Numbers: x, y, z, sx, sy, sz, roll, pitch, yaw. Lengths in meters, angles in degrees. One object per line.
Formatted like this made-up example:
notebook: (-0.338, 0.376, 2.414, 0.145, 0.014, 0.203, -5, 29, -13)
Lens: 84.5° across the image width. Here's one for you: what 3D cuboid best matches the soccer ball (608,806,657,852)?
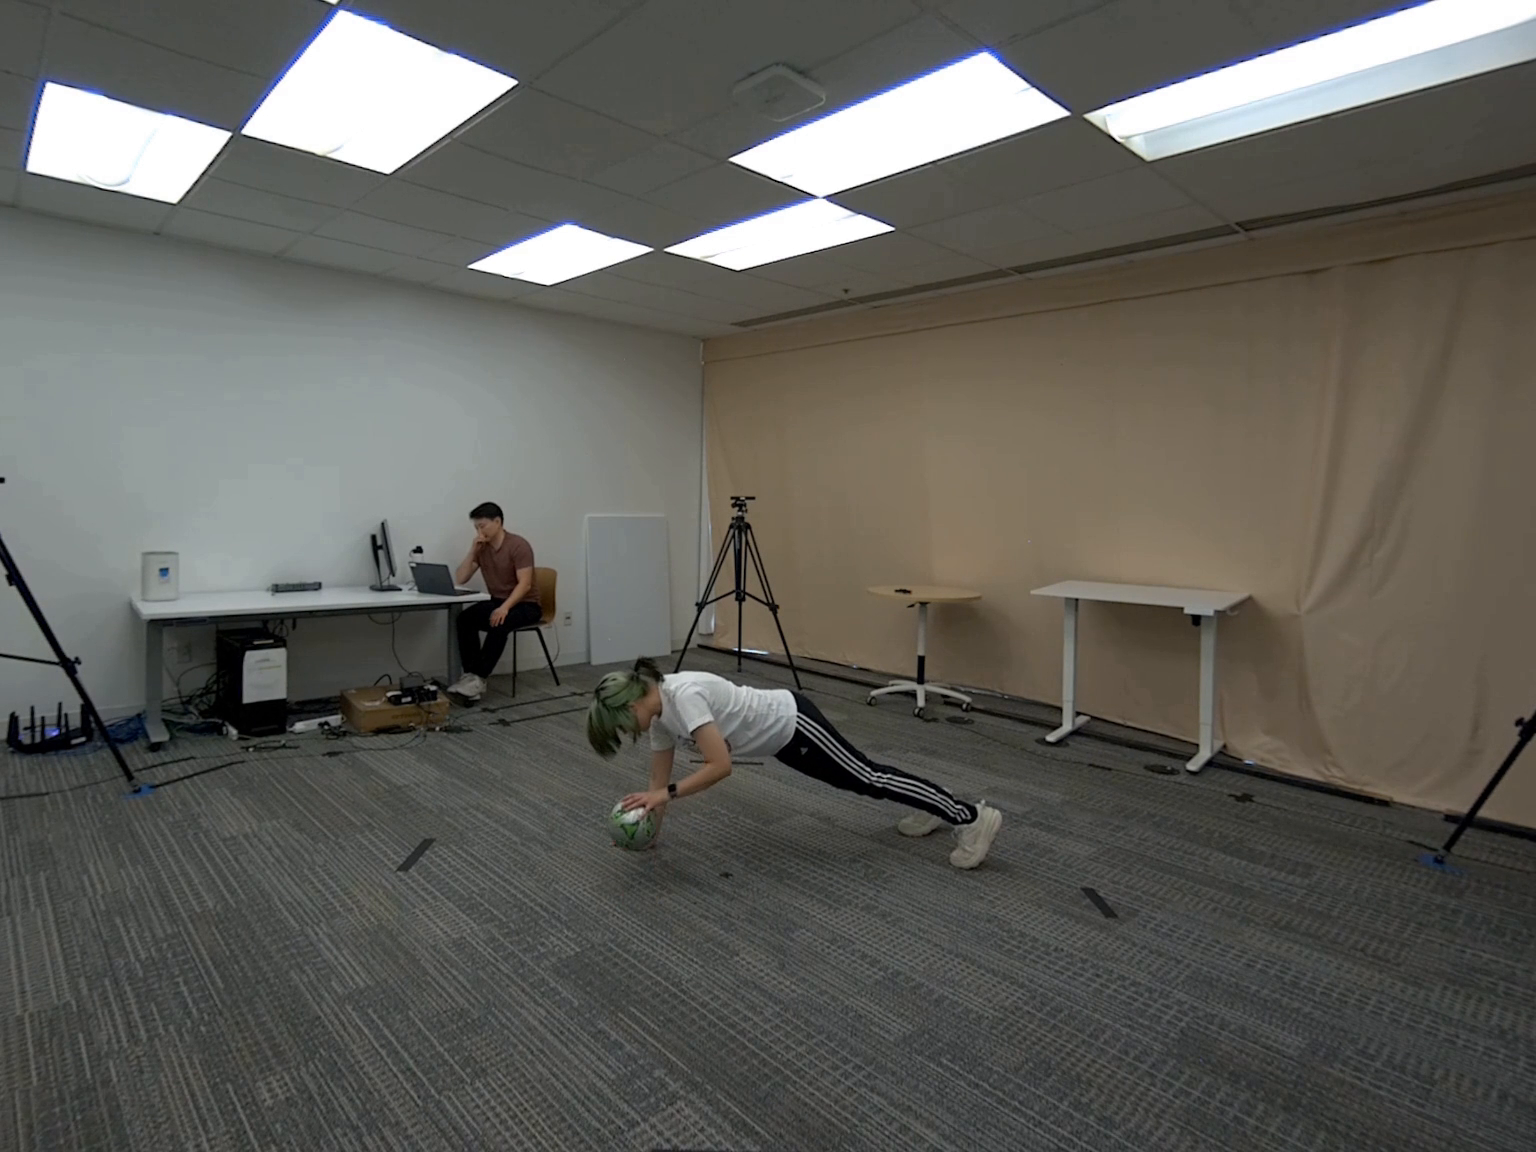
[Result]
soccer ball: (-0.499, 0.904, 3.062, 0.187, 0.187, 0.188, 1, 4, -1)
